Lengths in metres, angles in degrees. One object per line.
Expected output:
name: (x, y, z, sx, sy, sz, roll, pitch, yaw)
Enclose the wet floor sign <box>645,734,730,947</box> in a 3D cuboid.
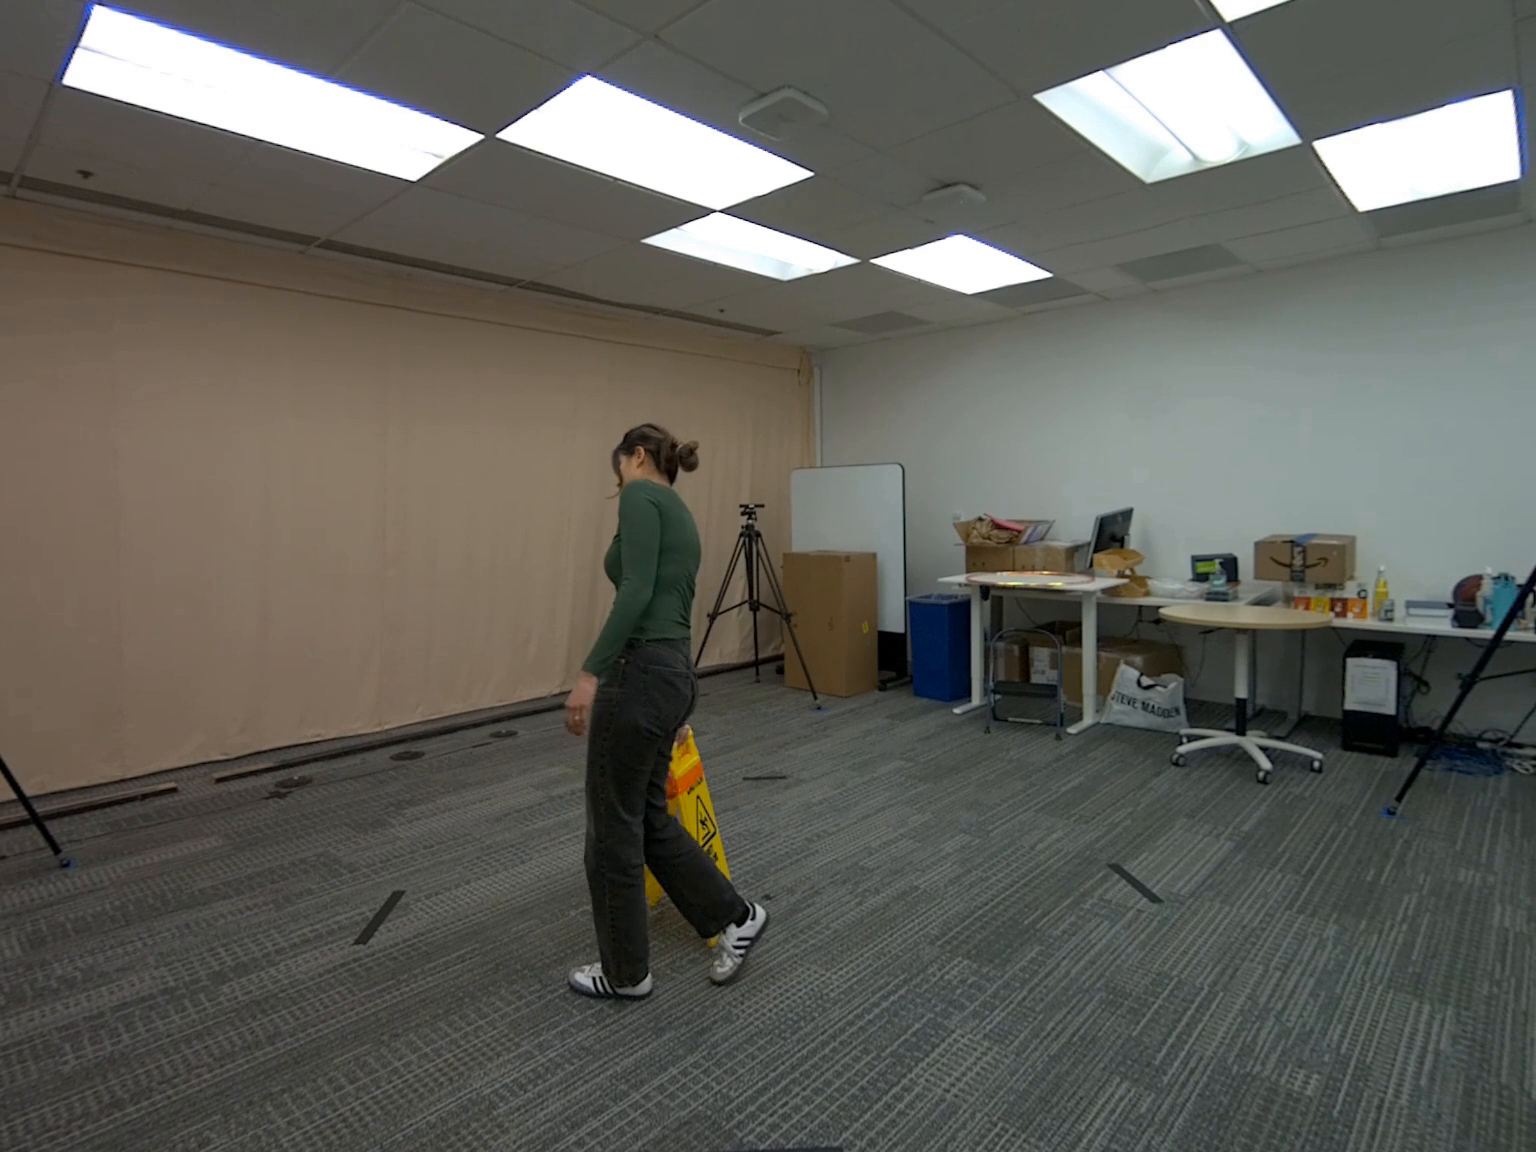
wet floor sign: (-0.287, 0.840, 2.802, 0.295, 0.644, 0.278, 1, 6, 17)
